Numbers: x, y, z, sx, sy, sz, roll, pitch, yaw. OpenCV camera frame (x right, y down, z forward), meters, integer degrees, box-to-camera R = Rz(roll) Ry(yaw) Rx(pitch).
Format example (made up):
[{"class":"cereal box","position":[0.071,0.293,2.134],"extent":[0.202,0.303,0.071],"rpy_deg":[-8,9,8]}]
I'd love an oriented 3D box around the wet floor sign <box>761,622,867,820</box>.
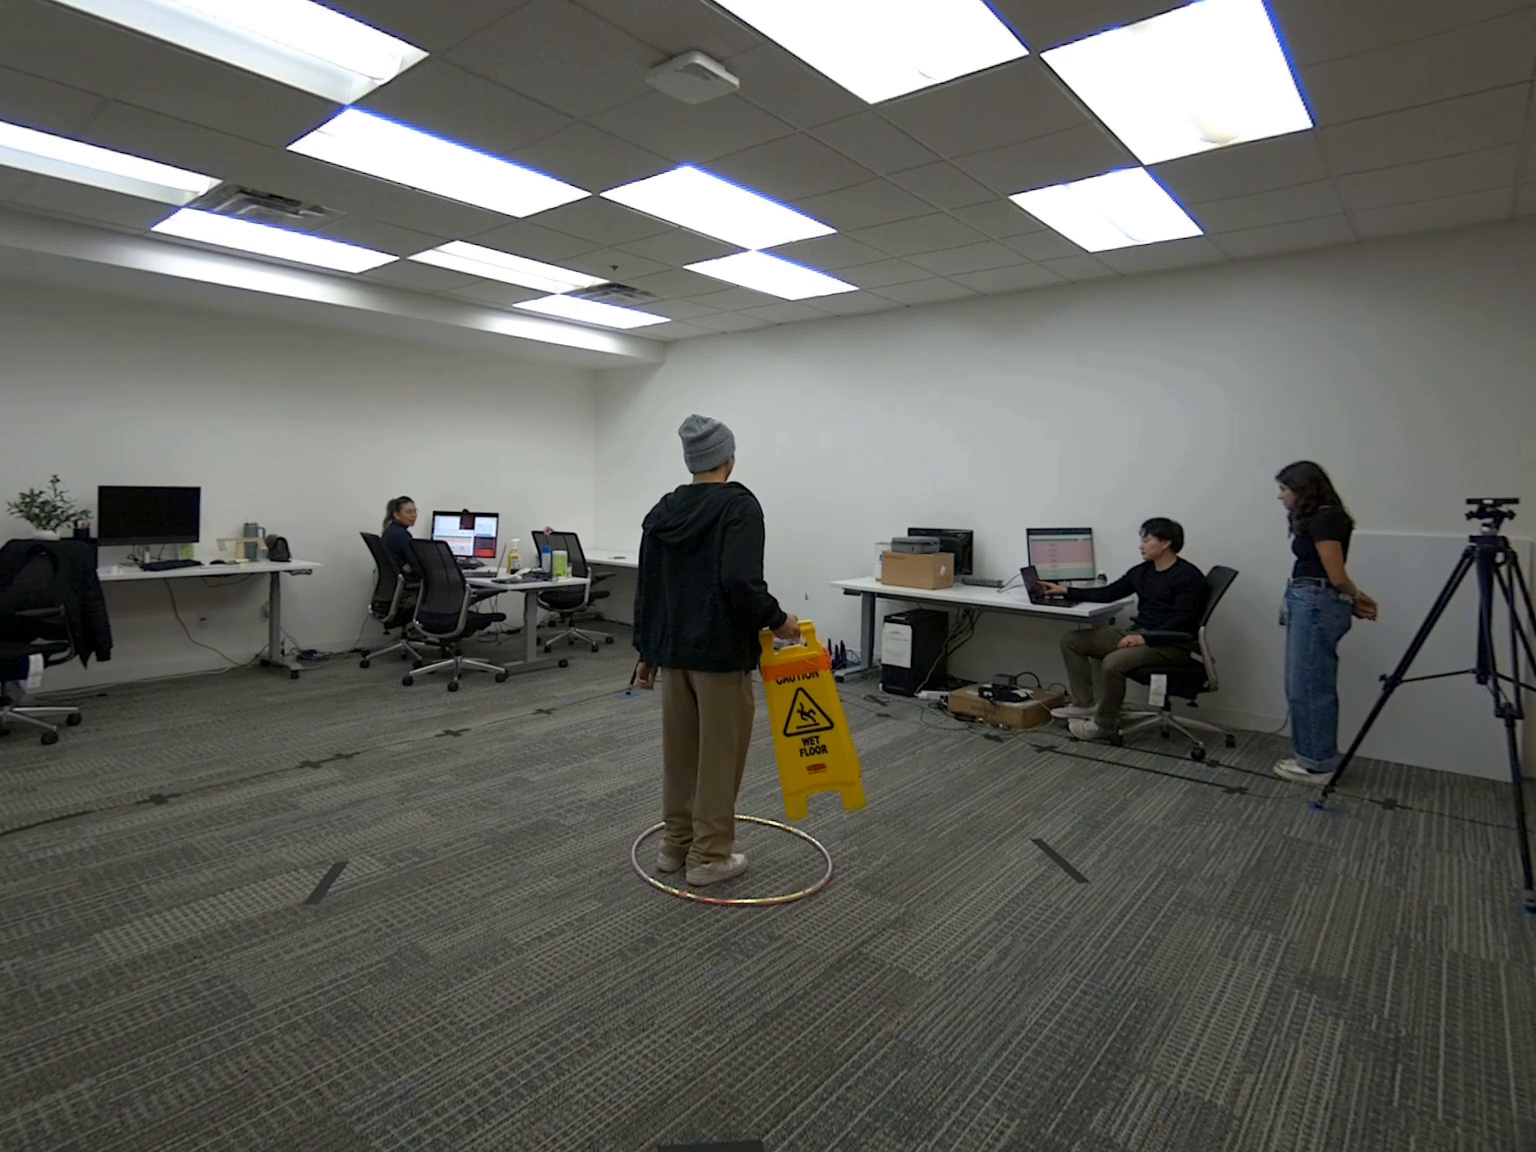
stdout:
[{"class":"wet floor sign","position":[0.126,0.479,3.007],"extent":[0.283,0.641,0.290],"rpy_deg":[-10,6,4]}]
